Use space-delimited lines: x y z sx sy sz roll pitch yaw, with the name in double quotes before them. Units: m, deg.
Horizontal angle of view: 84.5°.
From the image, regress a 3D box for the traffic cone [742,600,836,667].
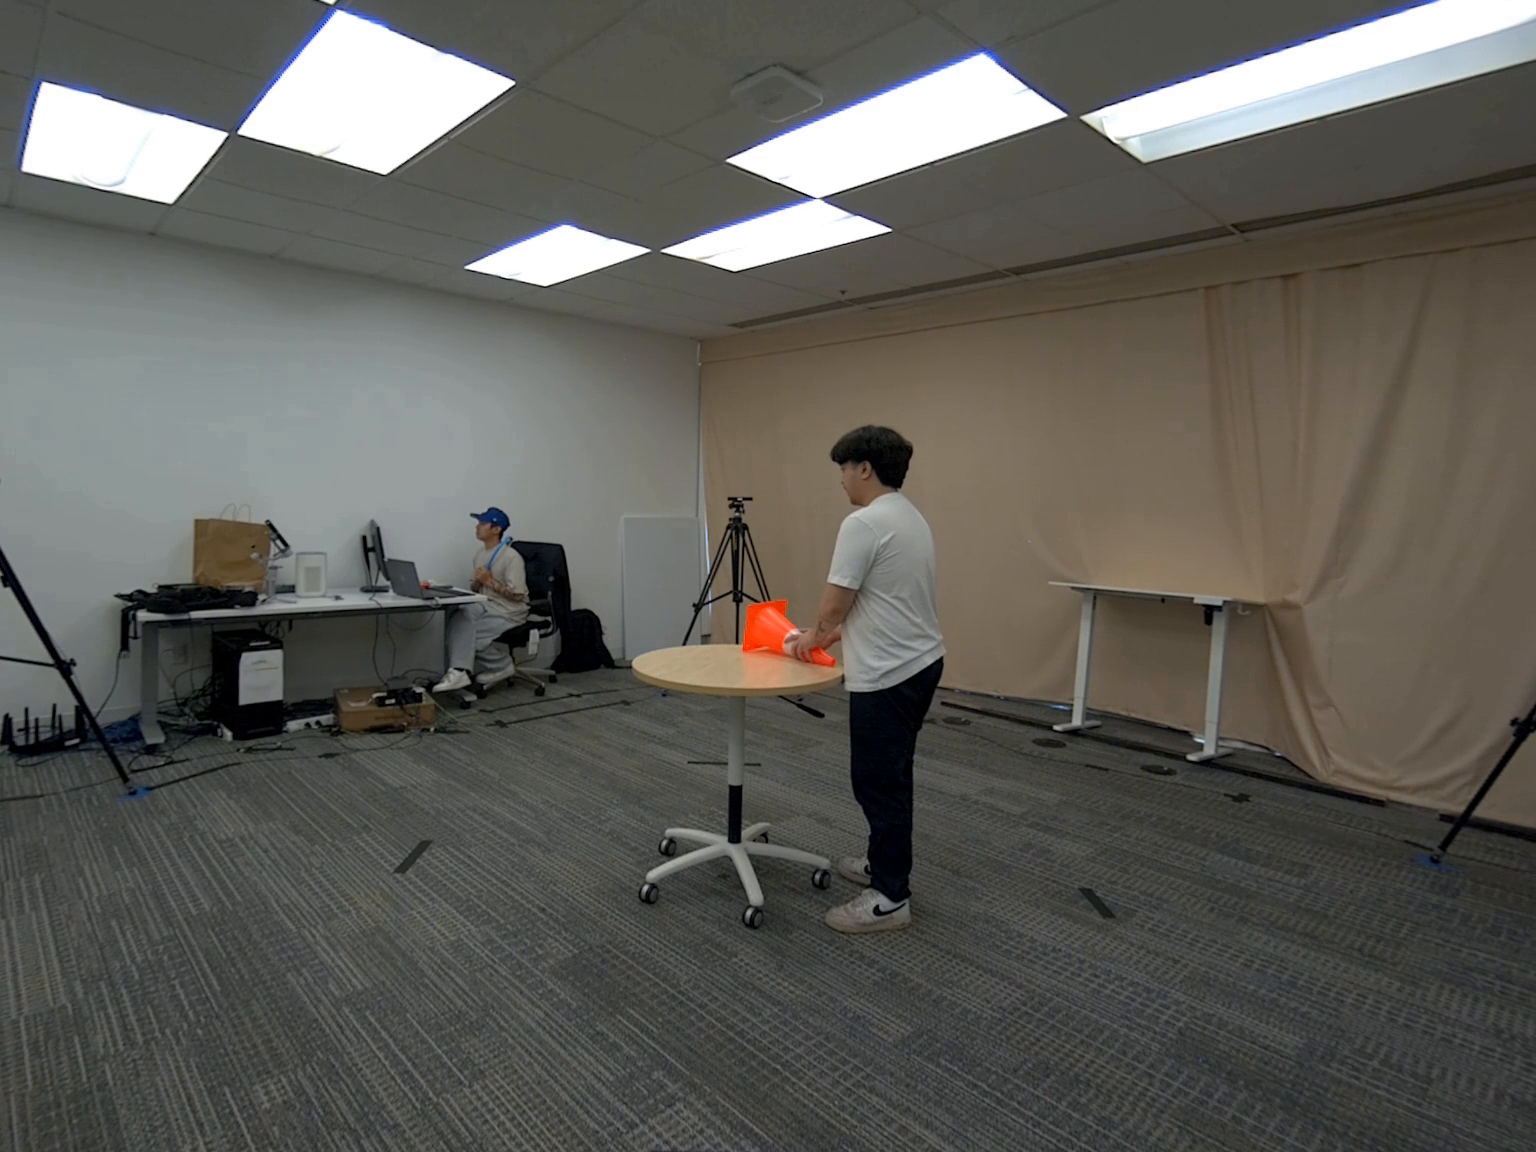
"traffic cone" 0.088 0.255 3.160 0.199 0.203 0.396 -6 22 -38
